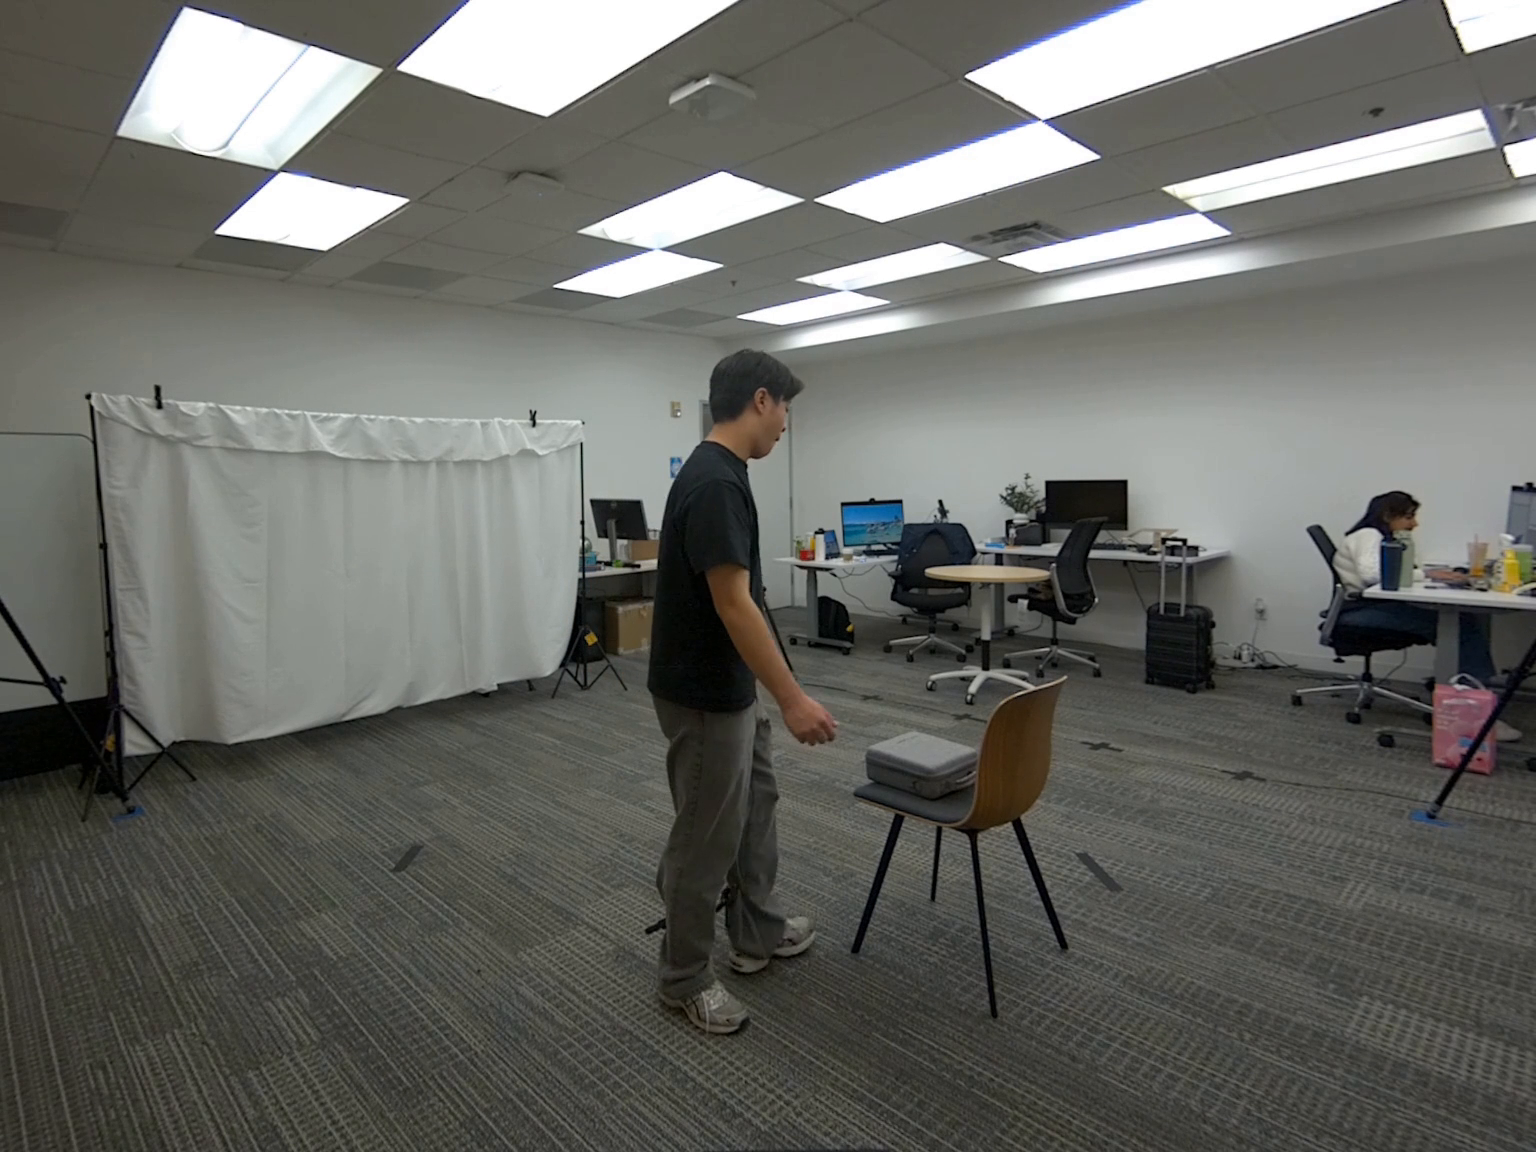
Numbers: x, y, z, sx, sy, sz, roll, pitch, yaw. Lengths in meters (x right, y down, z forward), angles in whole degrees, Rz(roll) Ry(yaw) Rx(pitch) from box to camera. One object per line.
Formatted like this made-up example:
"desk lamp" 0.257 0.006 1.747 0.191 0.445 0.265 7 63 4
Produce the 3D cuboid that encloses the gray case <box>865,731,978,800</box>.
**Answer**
"gray case" 0.473 0.564 2.554 0.256 0.102 0.296 -7 10 -43
